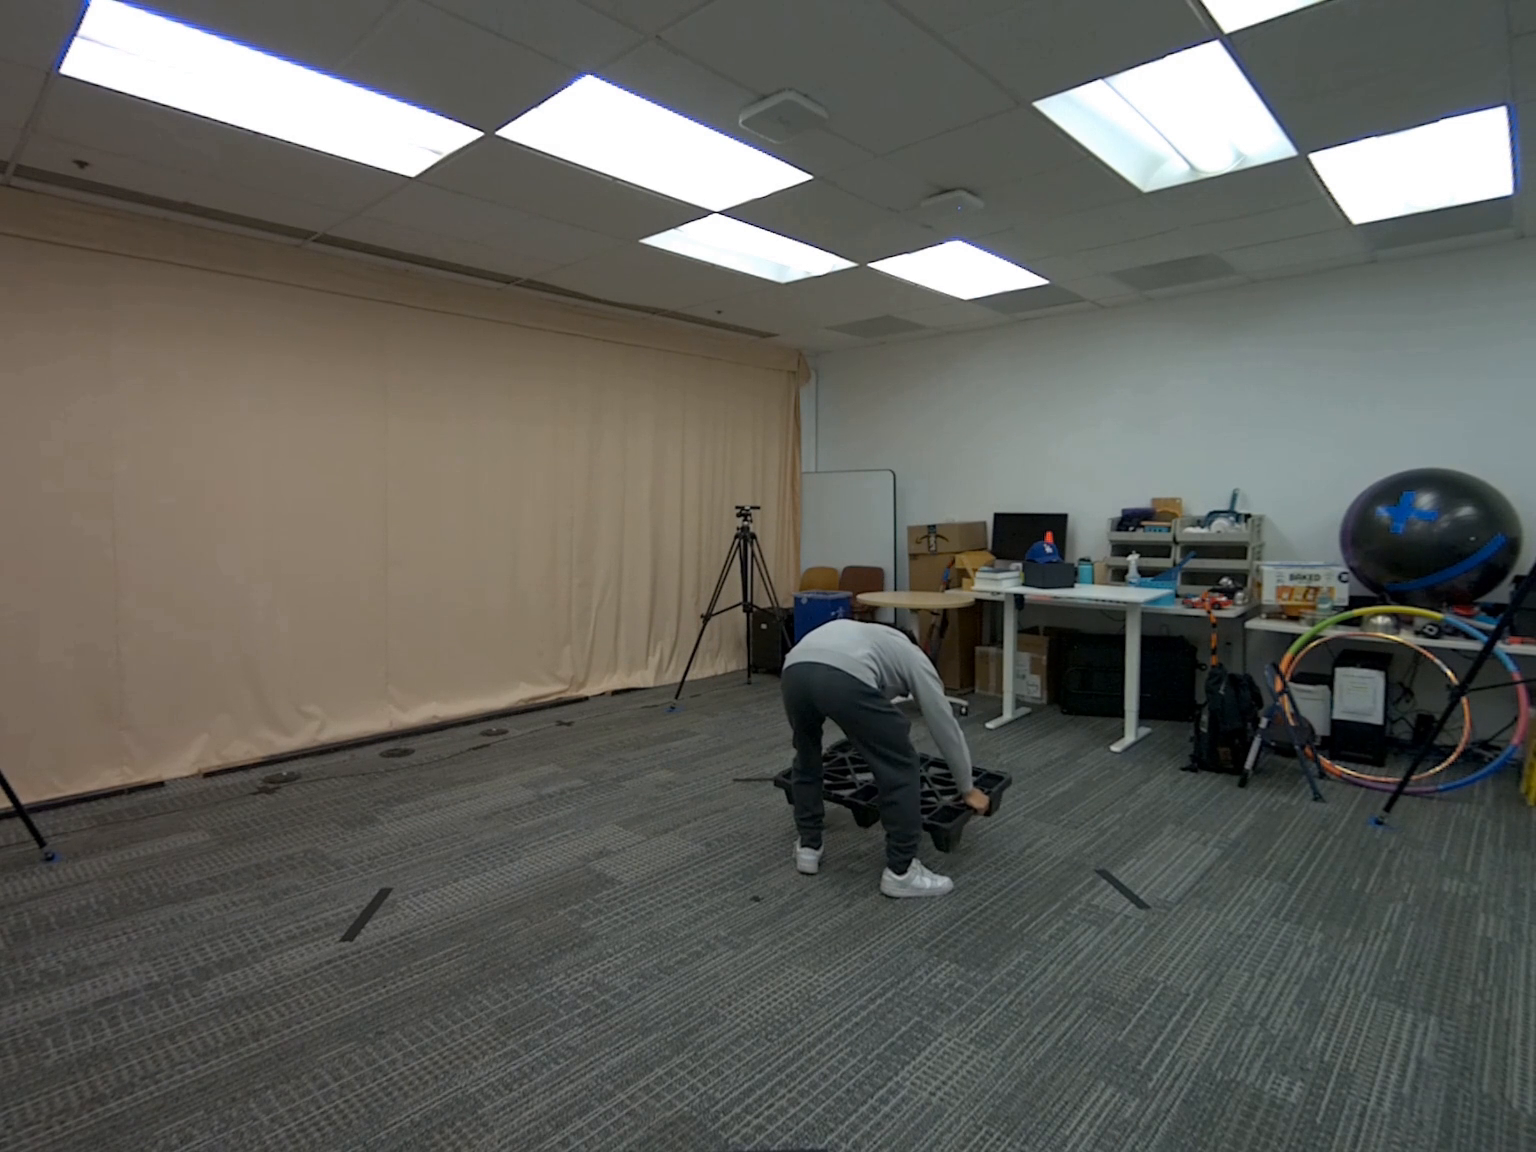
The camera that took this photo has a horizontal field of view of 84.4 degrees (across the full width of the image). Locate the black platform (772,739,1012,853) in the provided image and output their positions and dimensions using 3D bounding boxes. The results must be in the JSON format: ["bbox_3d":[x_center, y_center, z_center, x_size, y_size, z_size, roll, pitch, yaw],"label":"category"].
[{"bbox_3d":[0.519,0.897,3.507,0.832,0.142,0.589,5,13,39],"label":"black platform"}]
